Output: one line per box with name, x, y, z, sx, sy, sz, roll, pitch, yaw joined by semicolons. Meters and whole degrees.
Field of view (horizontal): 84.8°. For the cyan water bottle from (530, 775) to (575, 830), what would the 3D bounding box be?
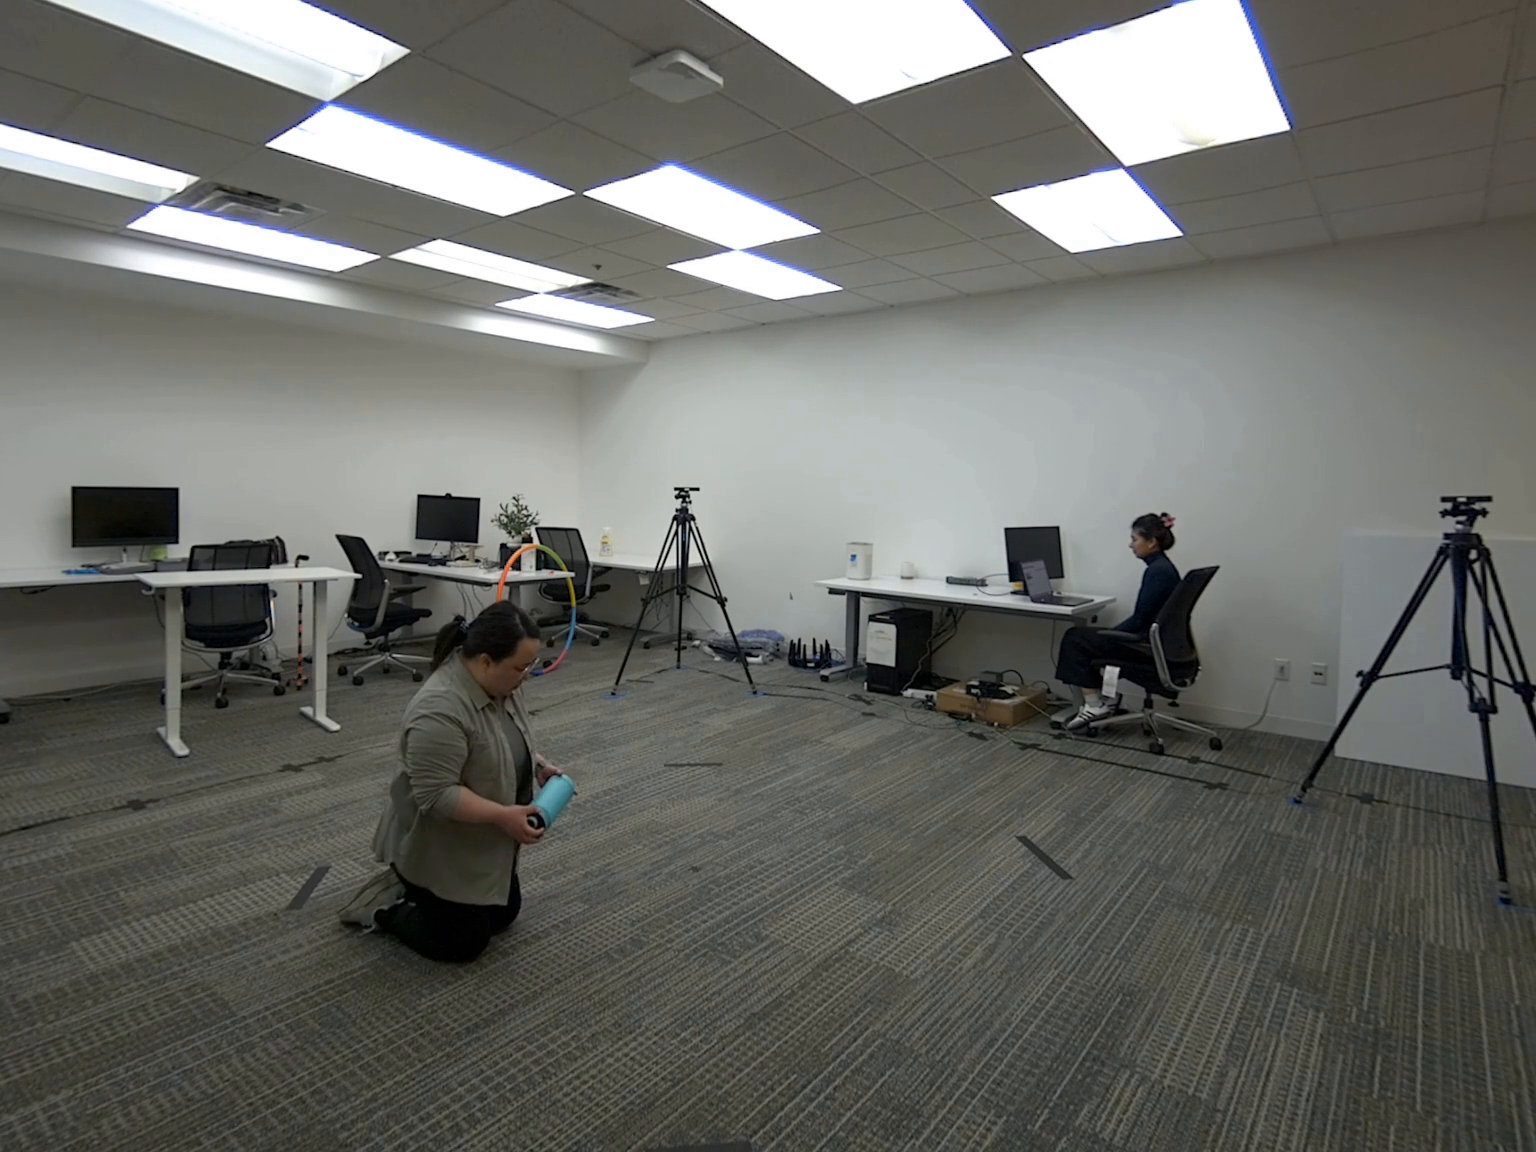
cyan water bottle;-0.675;0.700;2.539;0.092;0.091;0.285;1;9;1
